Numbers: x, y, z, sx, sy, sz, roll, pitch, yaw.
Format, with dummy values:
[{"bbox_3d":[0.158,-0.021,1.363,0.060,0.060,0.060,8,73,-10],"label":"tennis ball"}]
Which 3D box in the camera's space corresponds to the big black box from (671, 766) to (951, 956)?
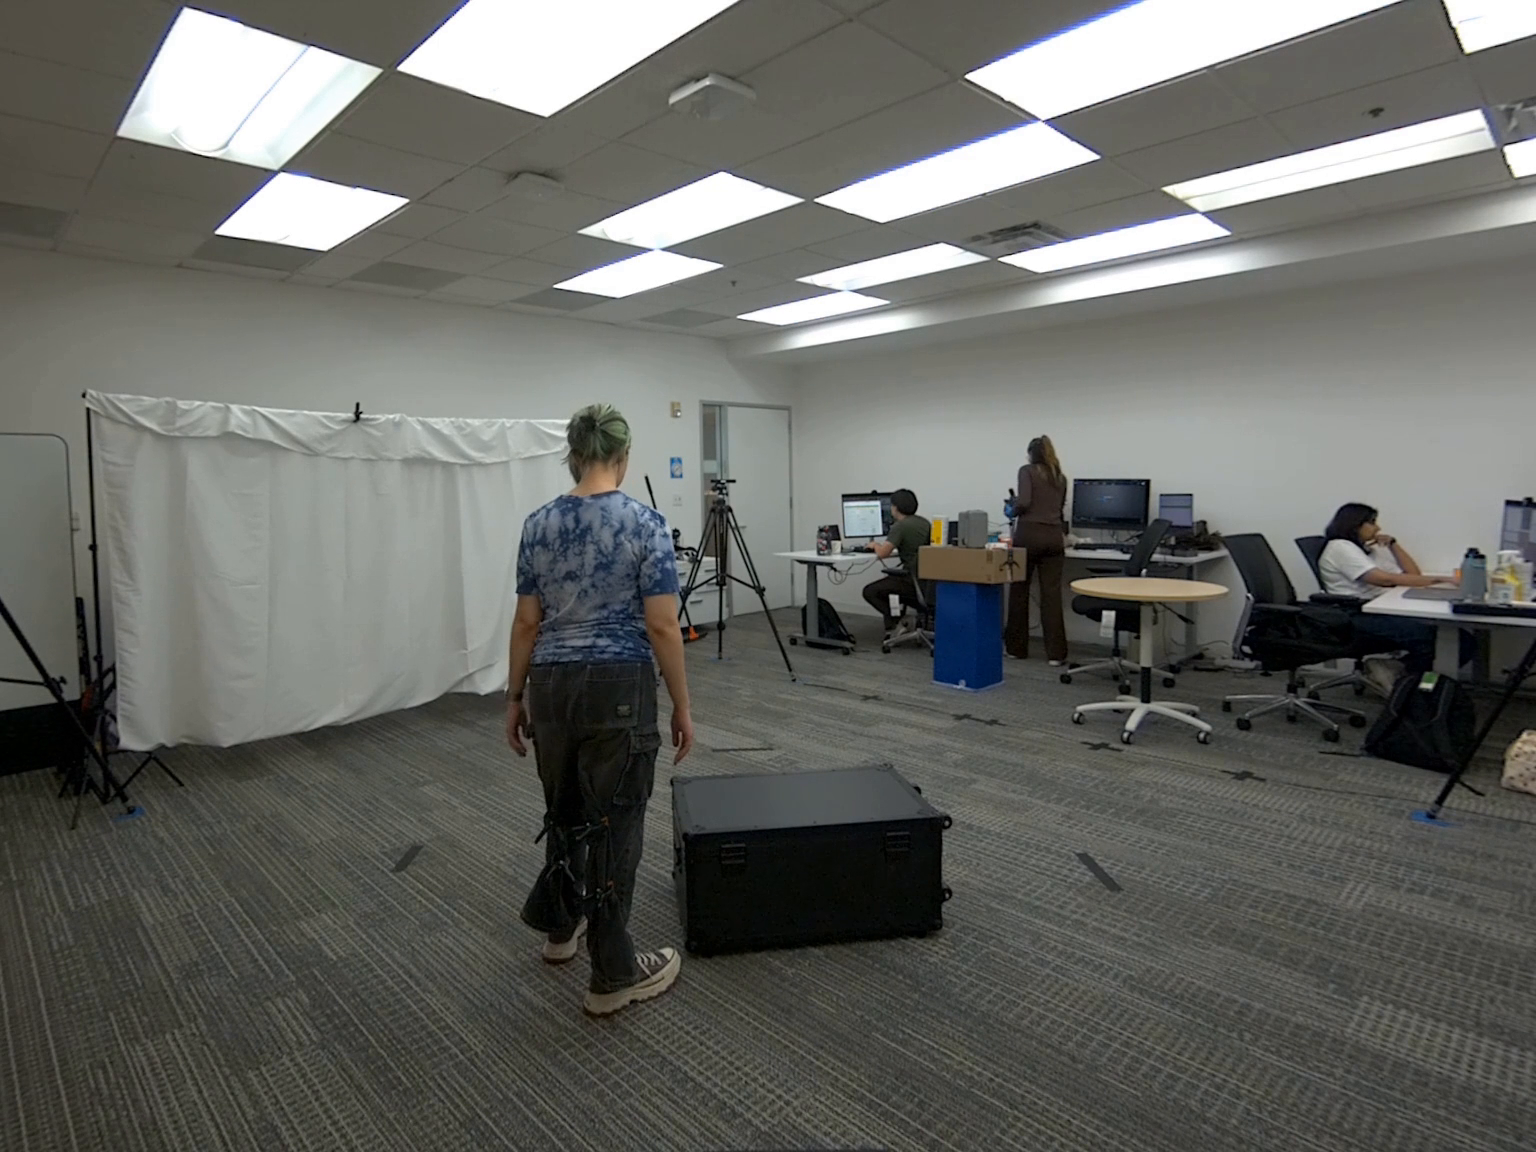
[{"bbox_3d":[0.075,0.893,2.763,0.855,0.395,0.528,-2,5,-9],"label":"big black box"}]
